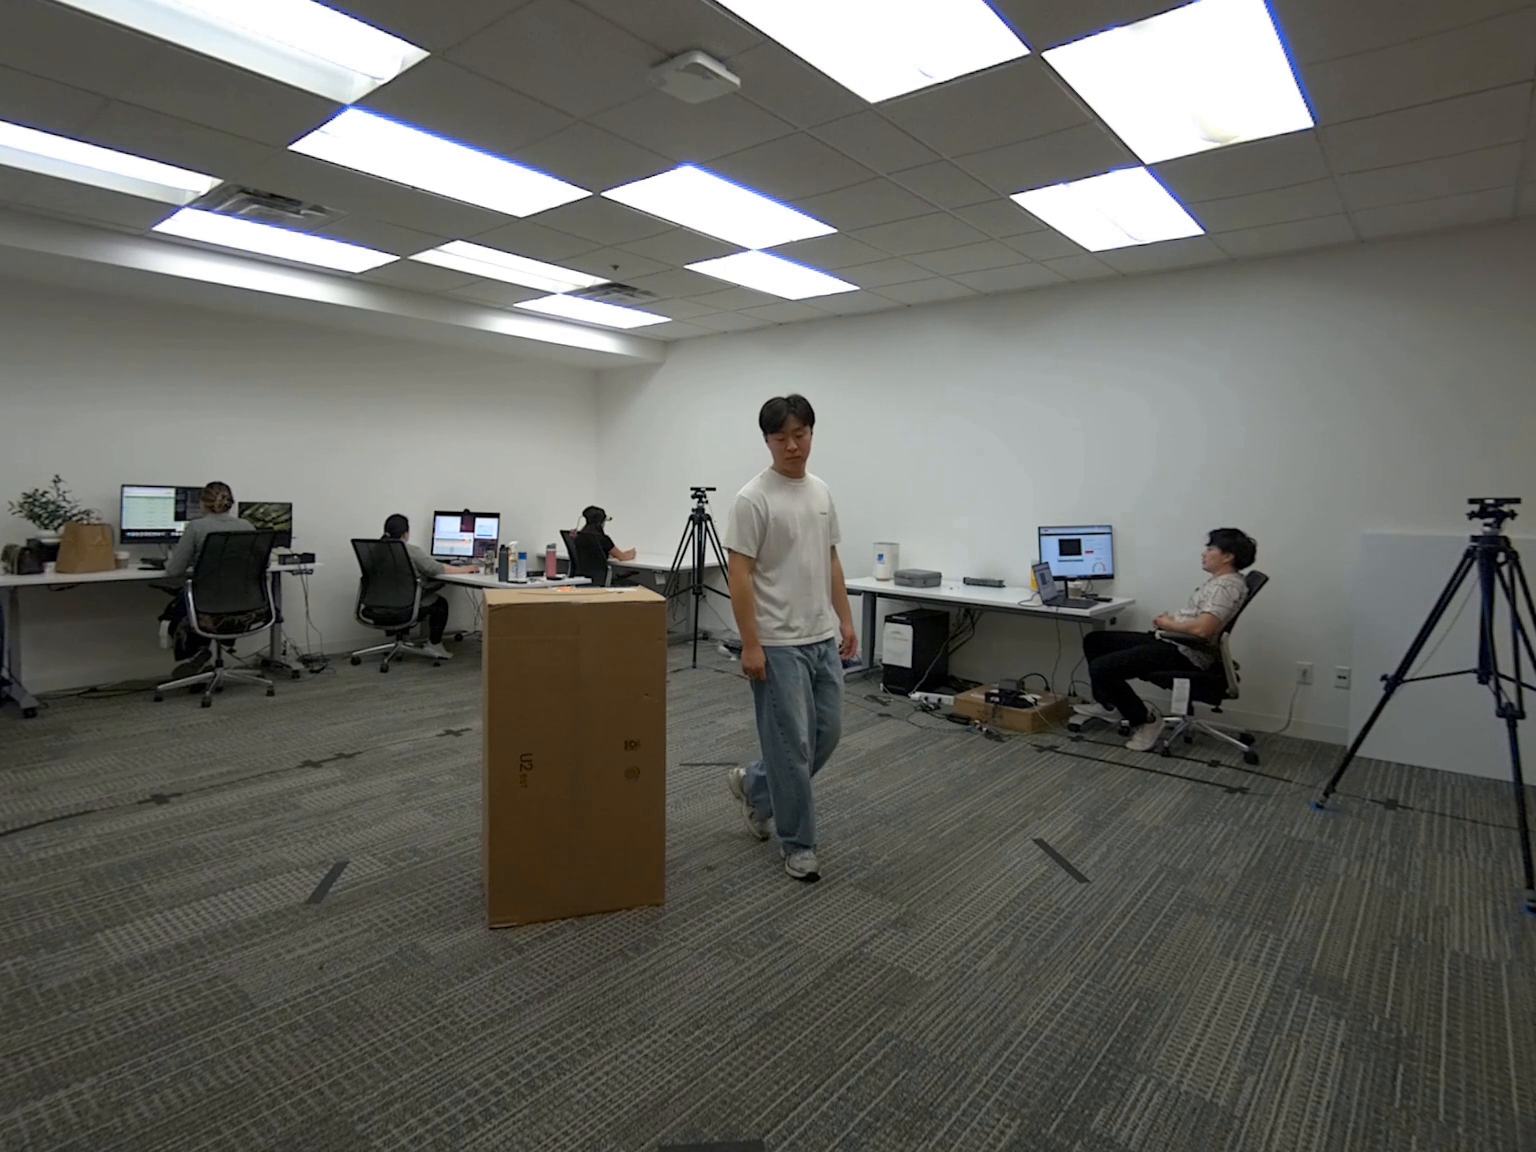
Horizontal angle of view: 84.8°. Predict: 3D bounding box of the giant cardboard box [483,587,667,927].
[{"bbox_3d":[-0.683,0.567,2.910,0.566,1.023,0.436,0,3,-20],"label":"giant cardboard box"}]
